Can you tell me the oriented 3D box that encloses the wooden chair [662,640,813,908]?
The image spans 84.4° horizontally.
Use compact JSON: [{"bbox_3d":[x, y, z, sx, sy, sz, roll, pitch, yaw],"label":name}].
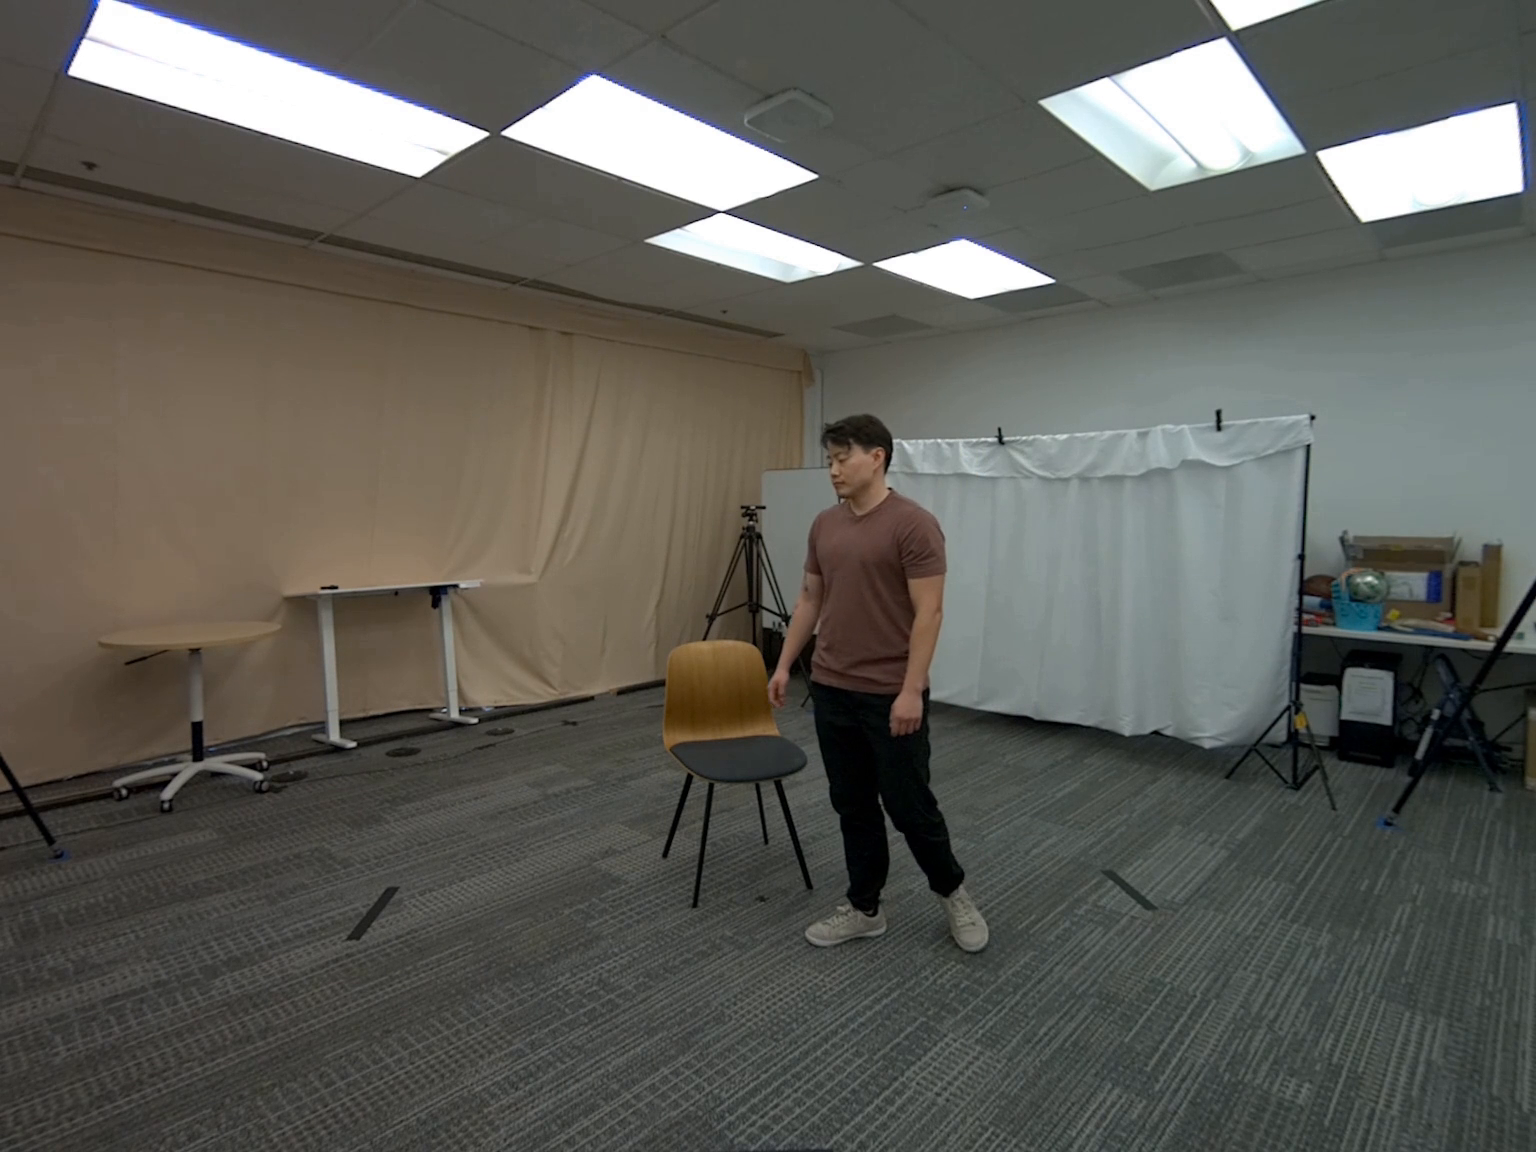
[{"bbox_3d":[-0.128,0.704,3.162,0.469,0.878,0.533,-1,-1,-19],"label":"wooden chair"}]
